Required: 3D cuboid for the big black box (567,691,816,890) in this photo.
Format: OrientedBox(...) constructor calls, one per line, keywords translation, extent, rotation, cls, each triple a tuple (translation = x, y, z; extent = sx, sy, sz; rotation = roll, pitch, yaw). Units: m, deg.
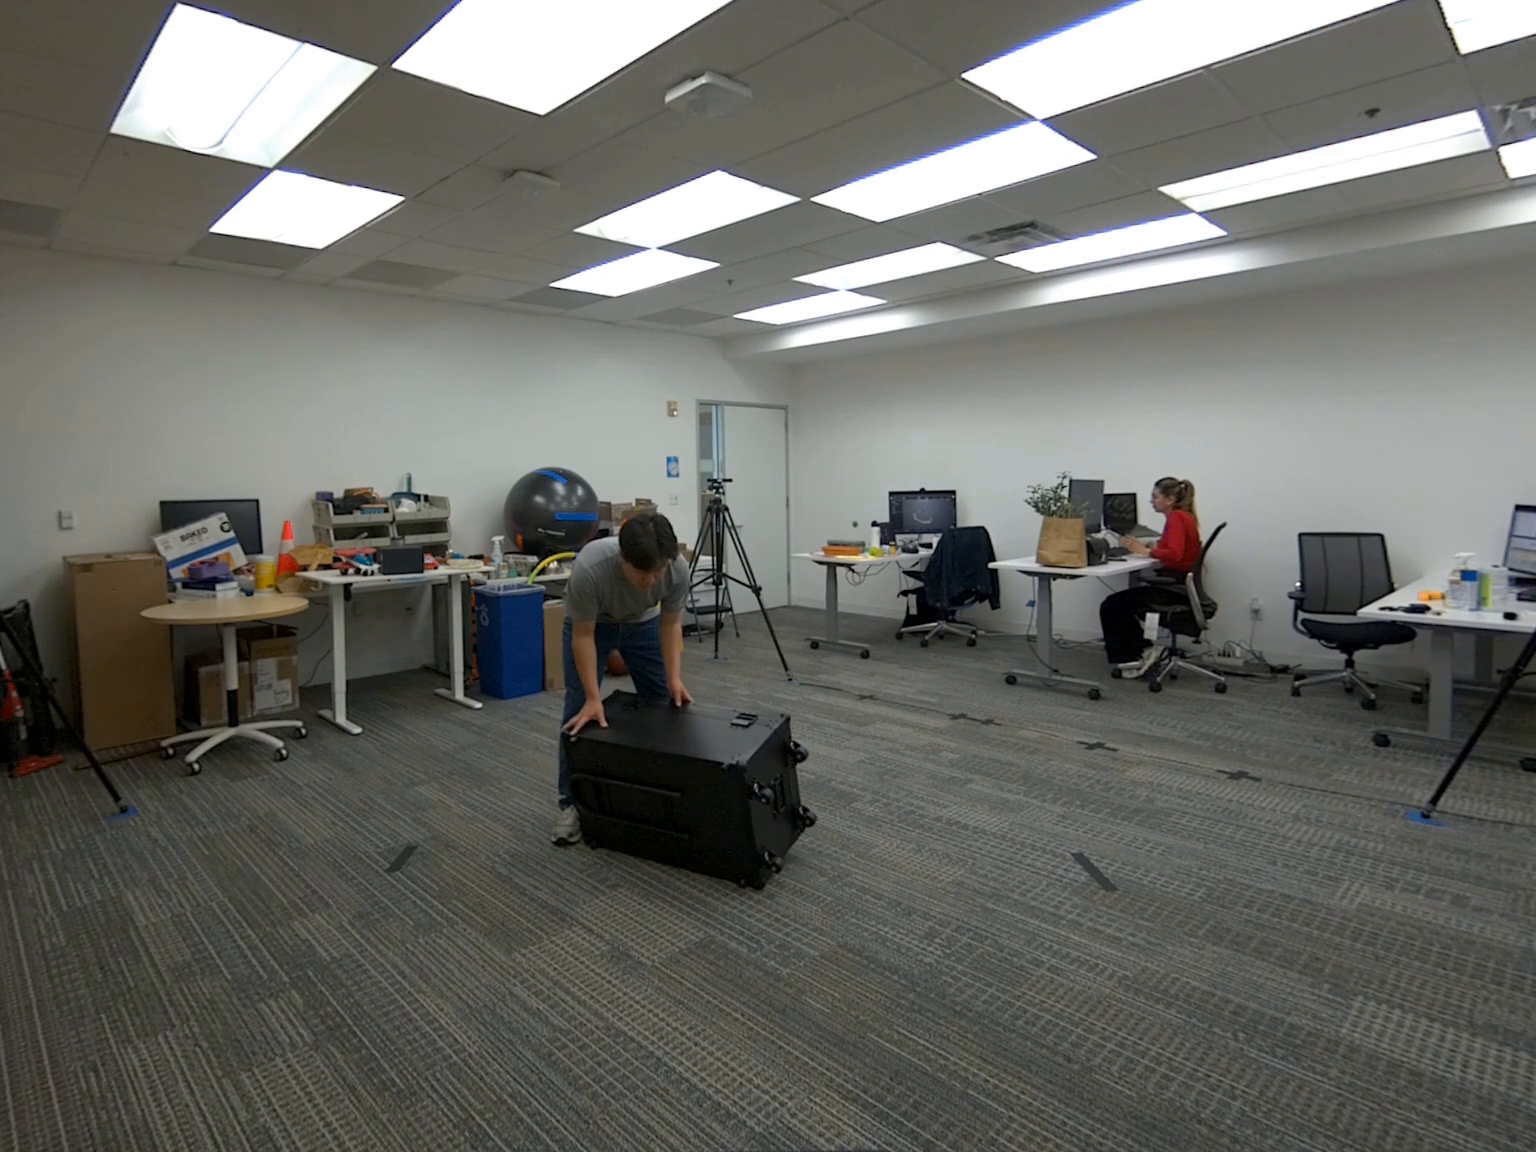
OrientedBox(translation=(-0.286, 0.770, 3.147), extent=(0.883, 0.513, 0.393), rotation=(1, 19, 29), cls="big black box")
